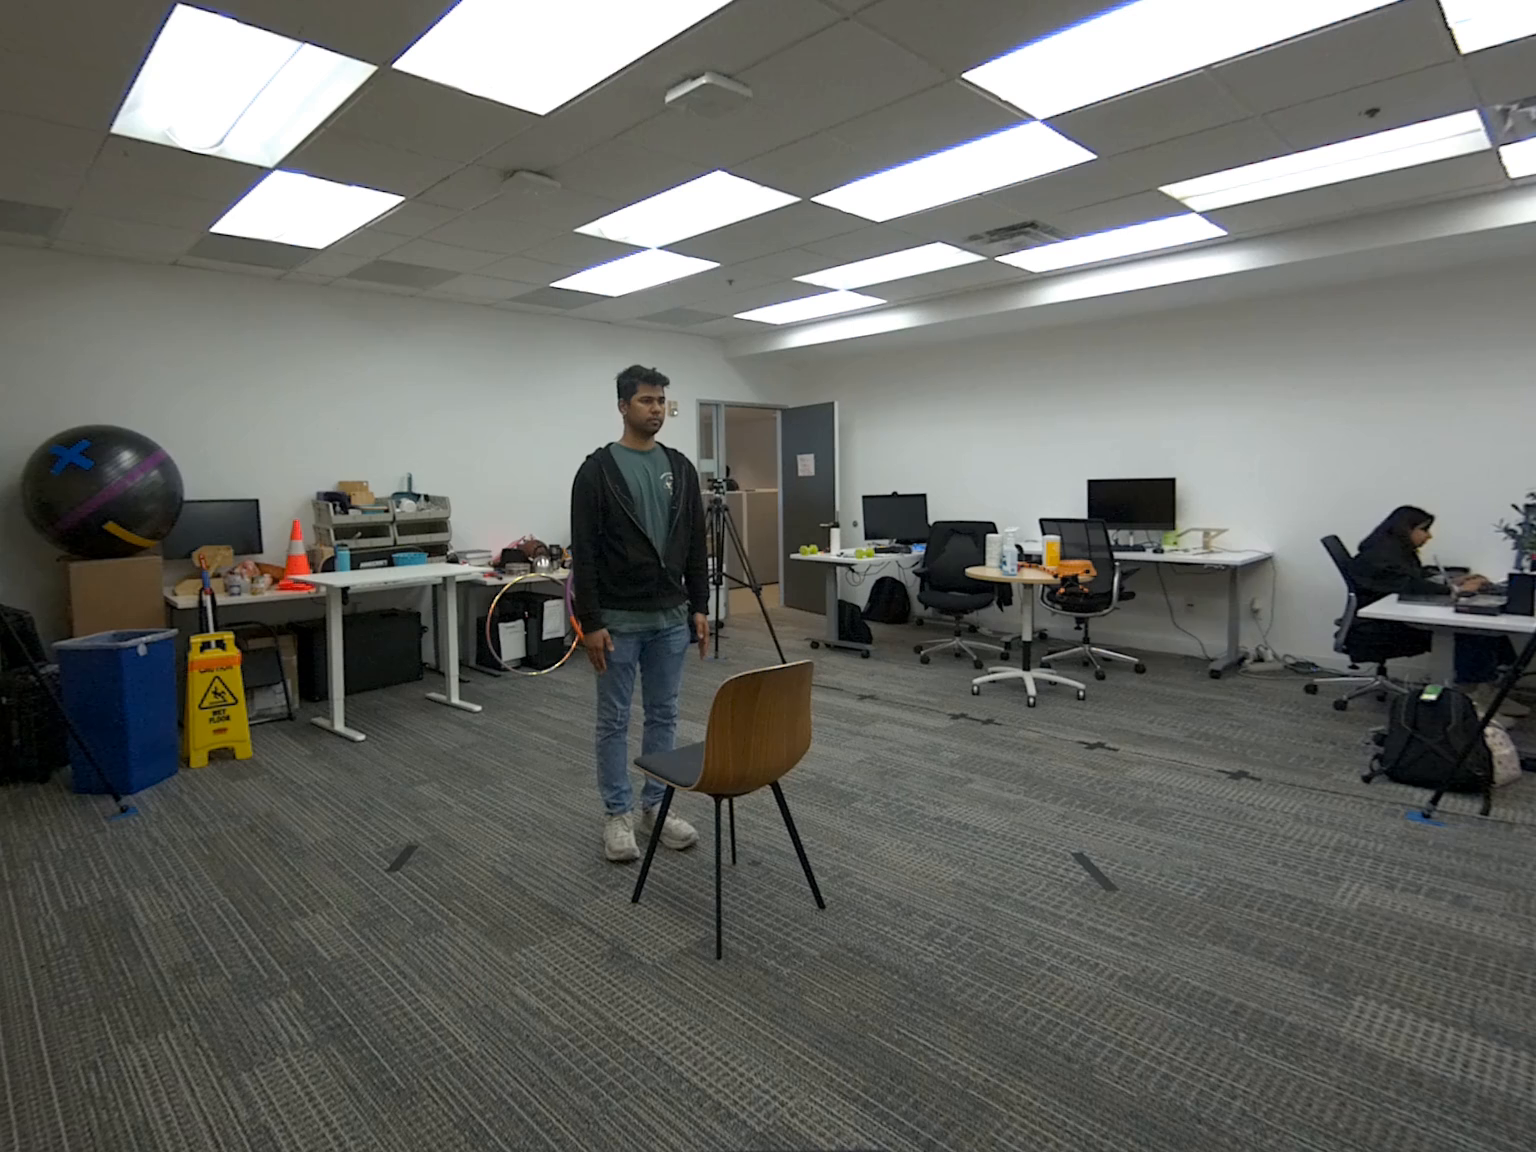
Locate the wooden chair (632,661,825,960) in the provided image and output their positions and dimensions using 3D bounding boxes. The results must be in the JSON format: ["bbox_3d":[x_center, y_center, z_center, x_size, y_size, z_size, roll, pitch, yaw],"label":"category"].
[{"bbox_3d":[-0.139,0.659,2.775,0.465,0.871,0.541,-5,11,-41],"label":"wooden chair"}]
